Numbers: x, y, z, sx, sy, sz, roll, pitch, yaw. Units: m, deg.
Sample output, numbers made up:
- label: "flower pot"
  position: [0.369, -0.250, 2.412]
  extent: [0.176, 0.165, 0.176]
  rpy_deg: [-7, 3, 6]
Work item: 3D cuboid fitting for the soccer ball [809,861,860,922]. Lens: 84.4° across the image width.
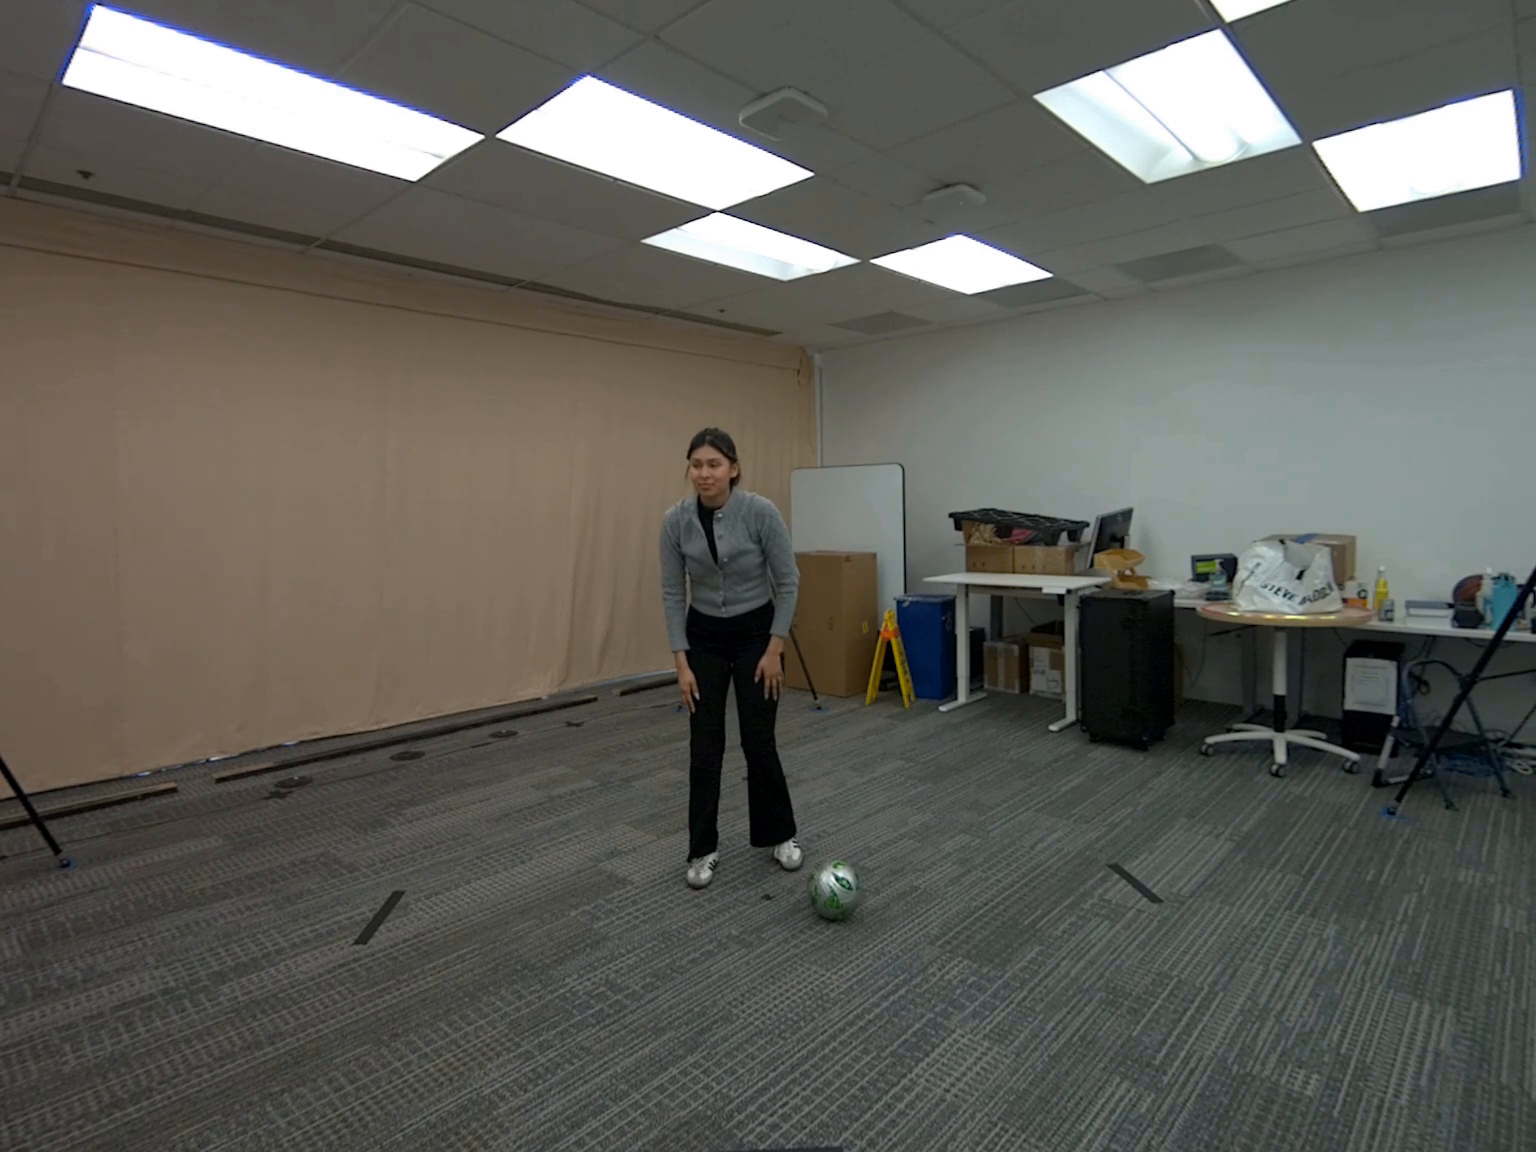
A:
- label: "soccer ball"
  position: [0.228, 1.050, 2.835]
  extent: [0.187, 0.187, 0.188]
  rpy_deg: [-1, 4, -2]
